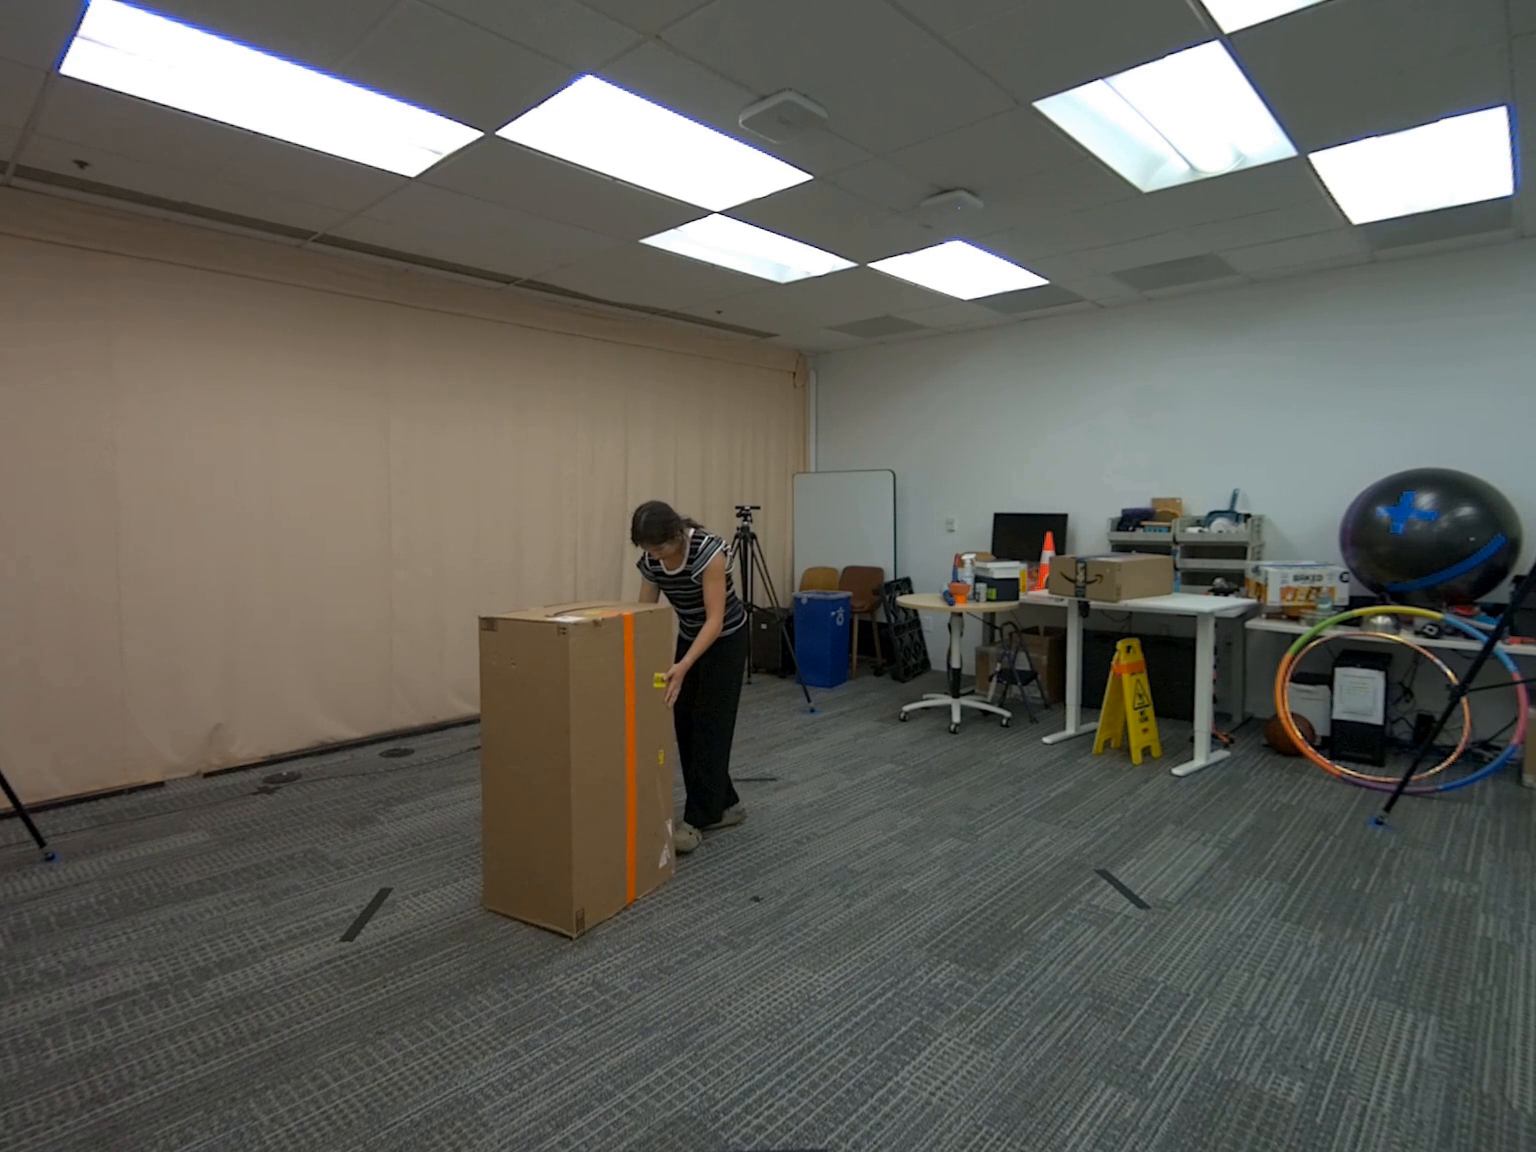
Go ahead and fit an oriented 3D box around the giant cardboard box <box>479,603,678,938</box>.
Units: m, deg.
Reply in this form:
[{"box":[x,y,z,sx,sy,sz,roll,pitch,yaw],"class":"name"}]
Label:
[{"box":[-0.677,0.636,3.037,0.438,1.024,0.562,1,2,30],"class":"giant cardboard box"}]
